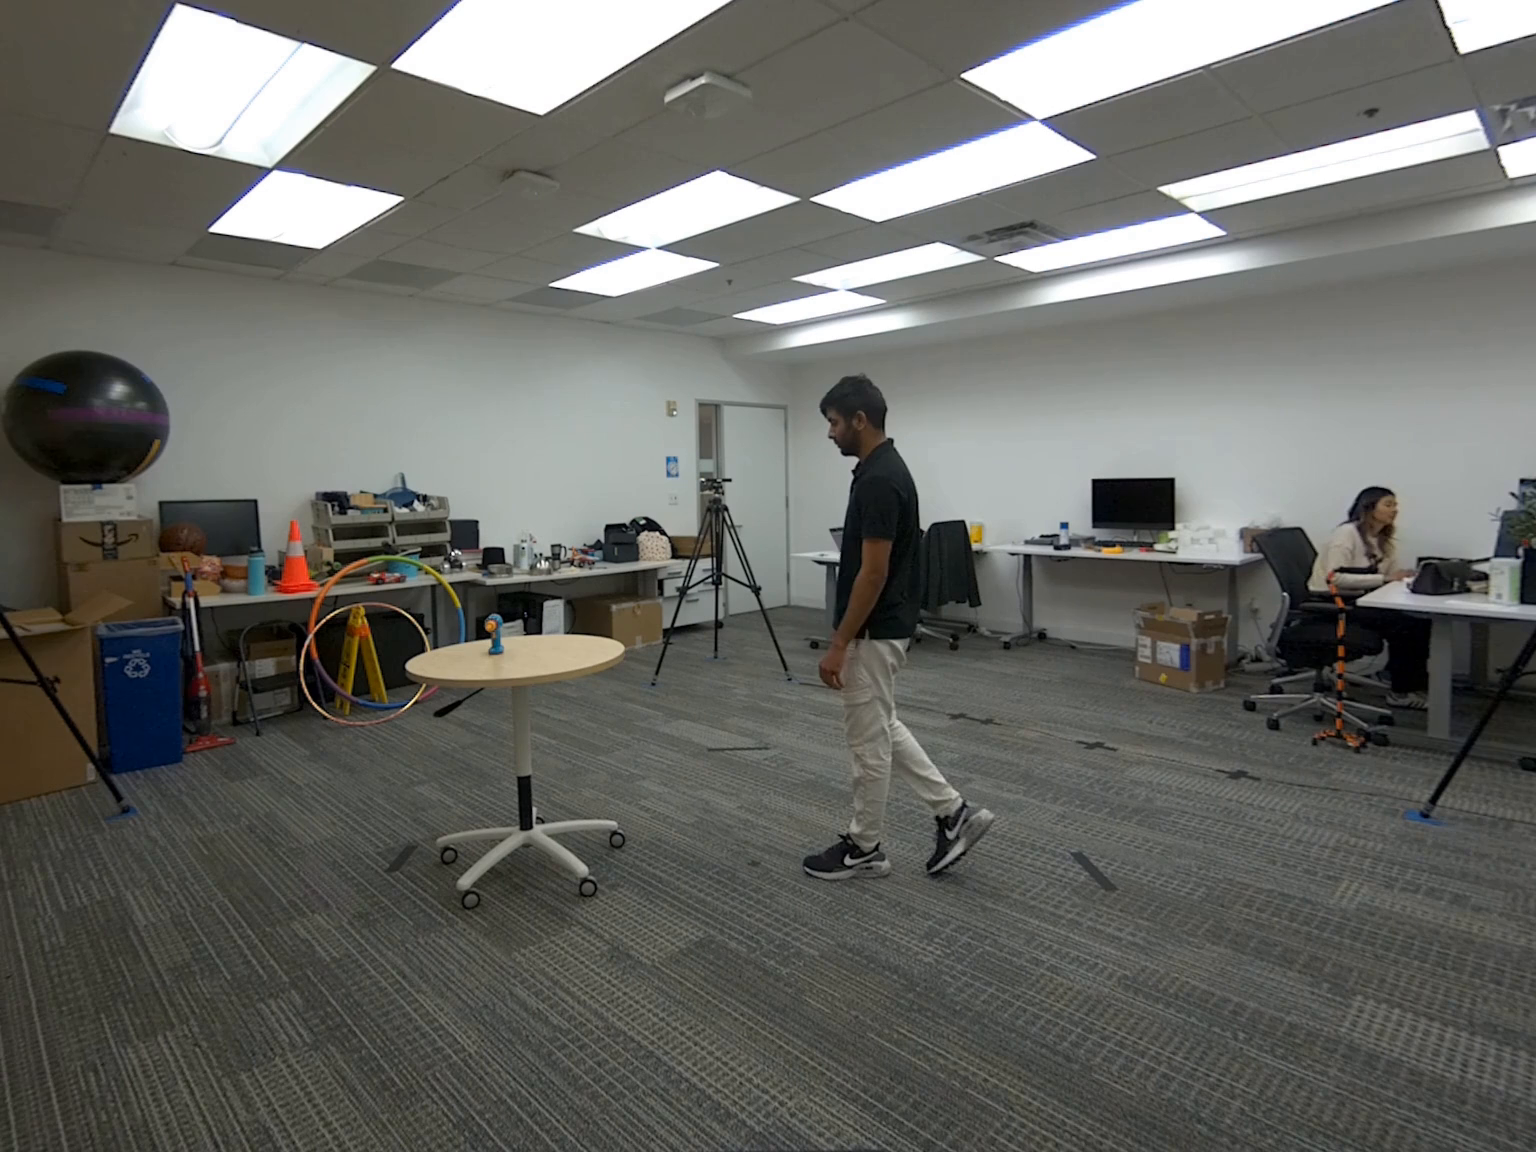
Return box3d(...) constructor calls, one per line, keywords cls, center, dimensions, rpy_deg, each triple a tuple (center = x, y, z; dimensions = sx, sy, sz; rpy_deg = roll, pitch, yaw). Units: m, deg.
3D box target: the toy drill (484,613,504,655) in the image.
box3d(cls="toy drill", center=(-0.983, 0.210, 3.074), dimensions=(0.061, 0.145, 0.171), rpy_deg=(-2, 5, -7))
